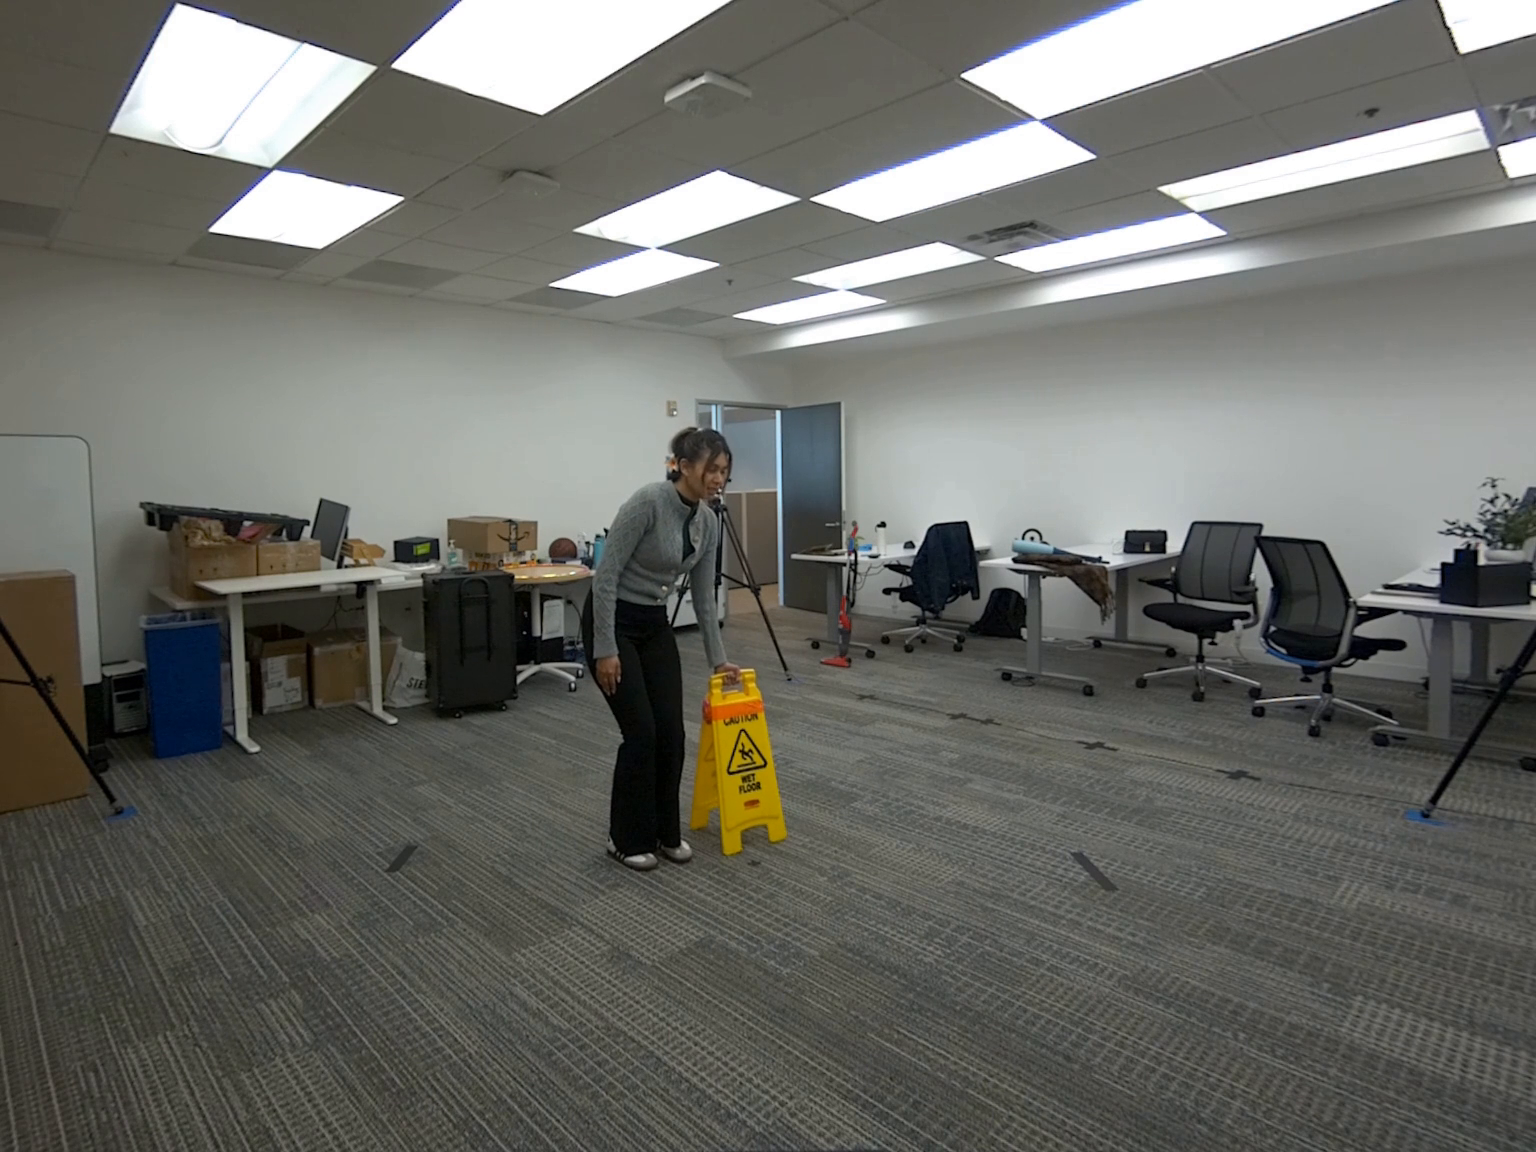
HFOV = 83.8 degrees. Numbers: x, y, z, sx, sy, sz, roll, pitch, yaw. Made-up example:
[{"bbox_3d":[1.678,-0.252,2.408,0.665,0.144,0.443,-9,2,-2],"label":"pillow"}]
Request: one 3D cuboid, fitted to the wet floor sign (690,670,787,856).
[{"bbox_3d":[-0.126,0.689,3.337,0.276,0.643,0.298,-5,5,-31],"label":"wet floor sign"}]
